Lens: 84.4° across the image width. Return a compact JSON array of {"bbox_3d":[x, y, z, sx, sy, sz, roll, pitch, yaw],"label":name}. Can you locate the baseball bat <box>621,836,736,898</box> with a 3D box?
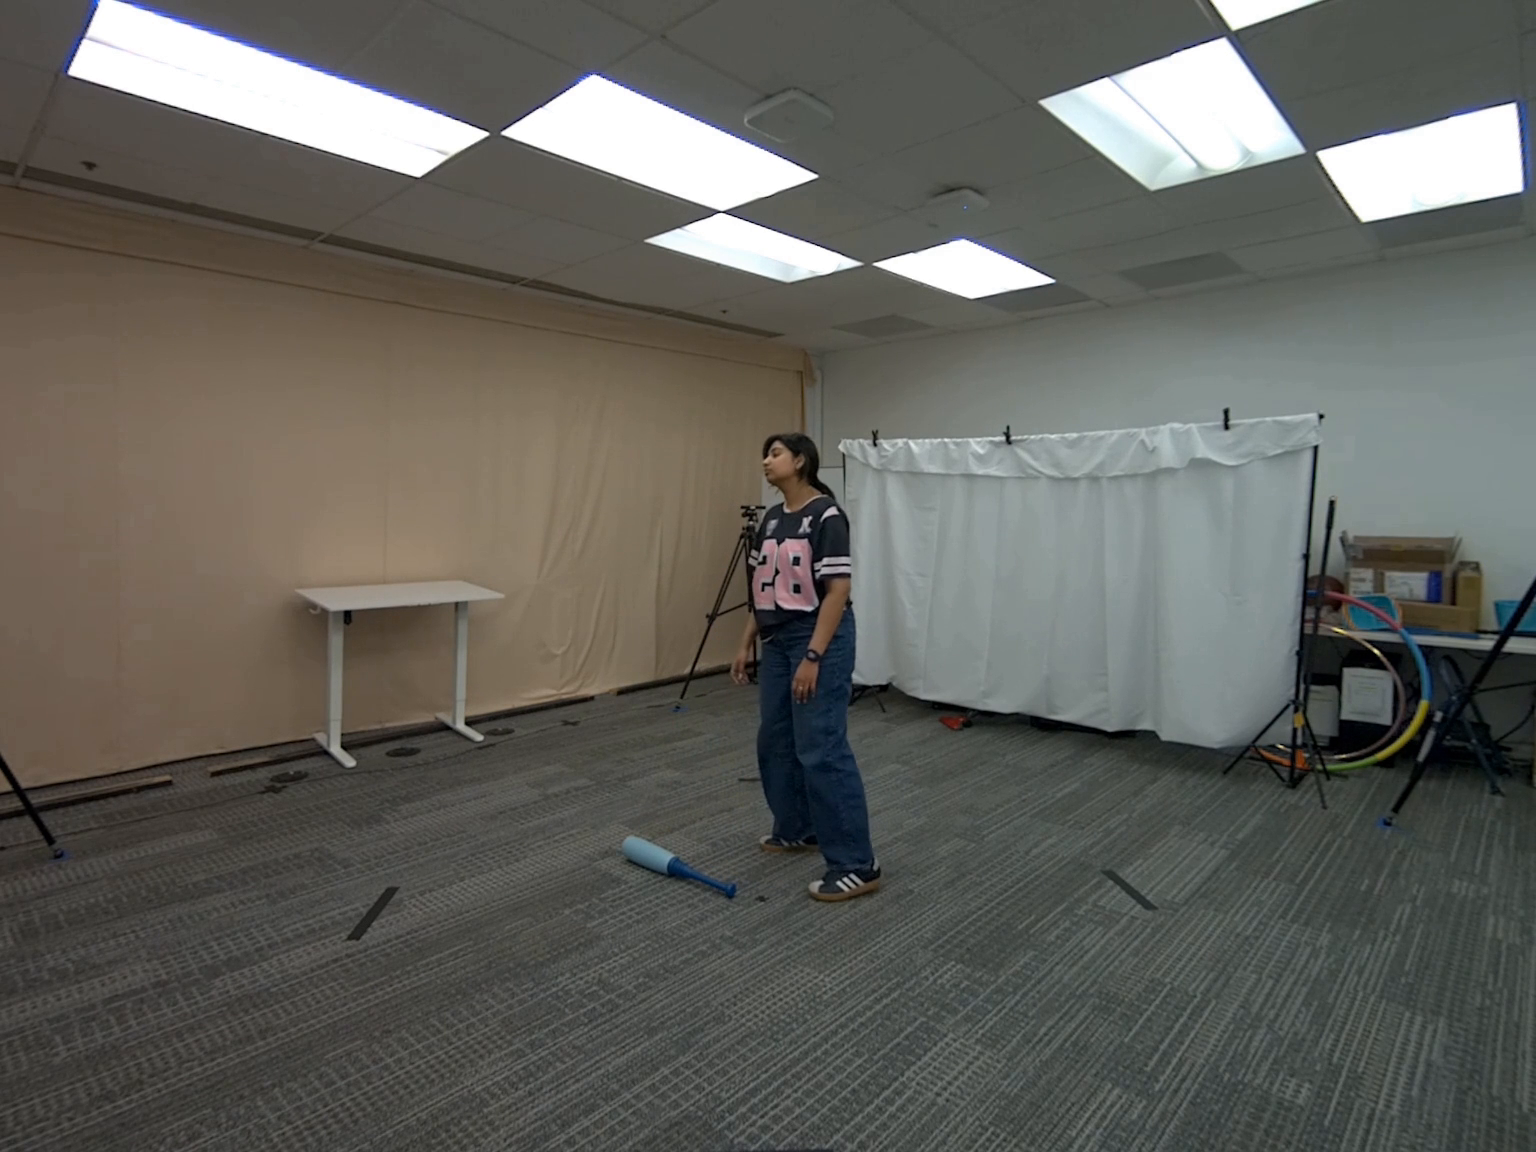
[{"bbox_3d":[-0.340,1.097,3.159,0.561,0.089,0.086,7,7,39],"label":"baseball bat"}]
